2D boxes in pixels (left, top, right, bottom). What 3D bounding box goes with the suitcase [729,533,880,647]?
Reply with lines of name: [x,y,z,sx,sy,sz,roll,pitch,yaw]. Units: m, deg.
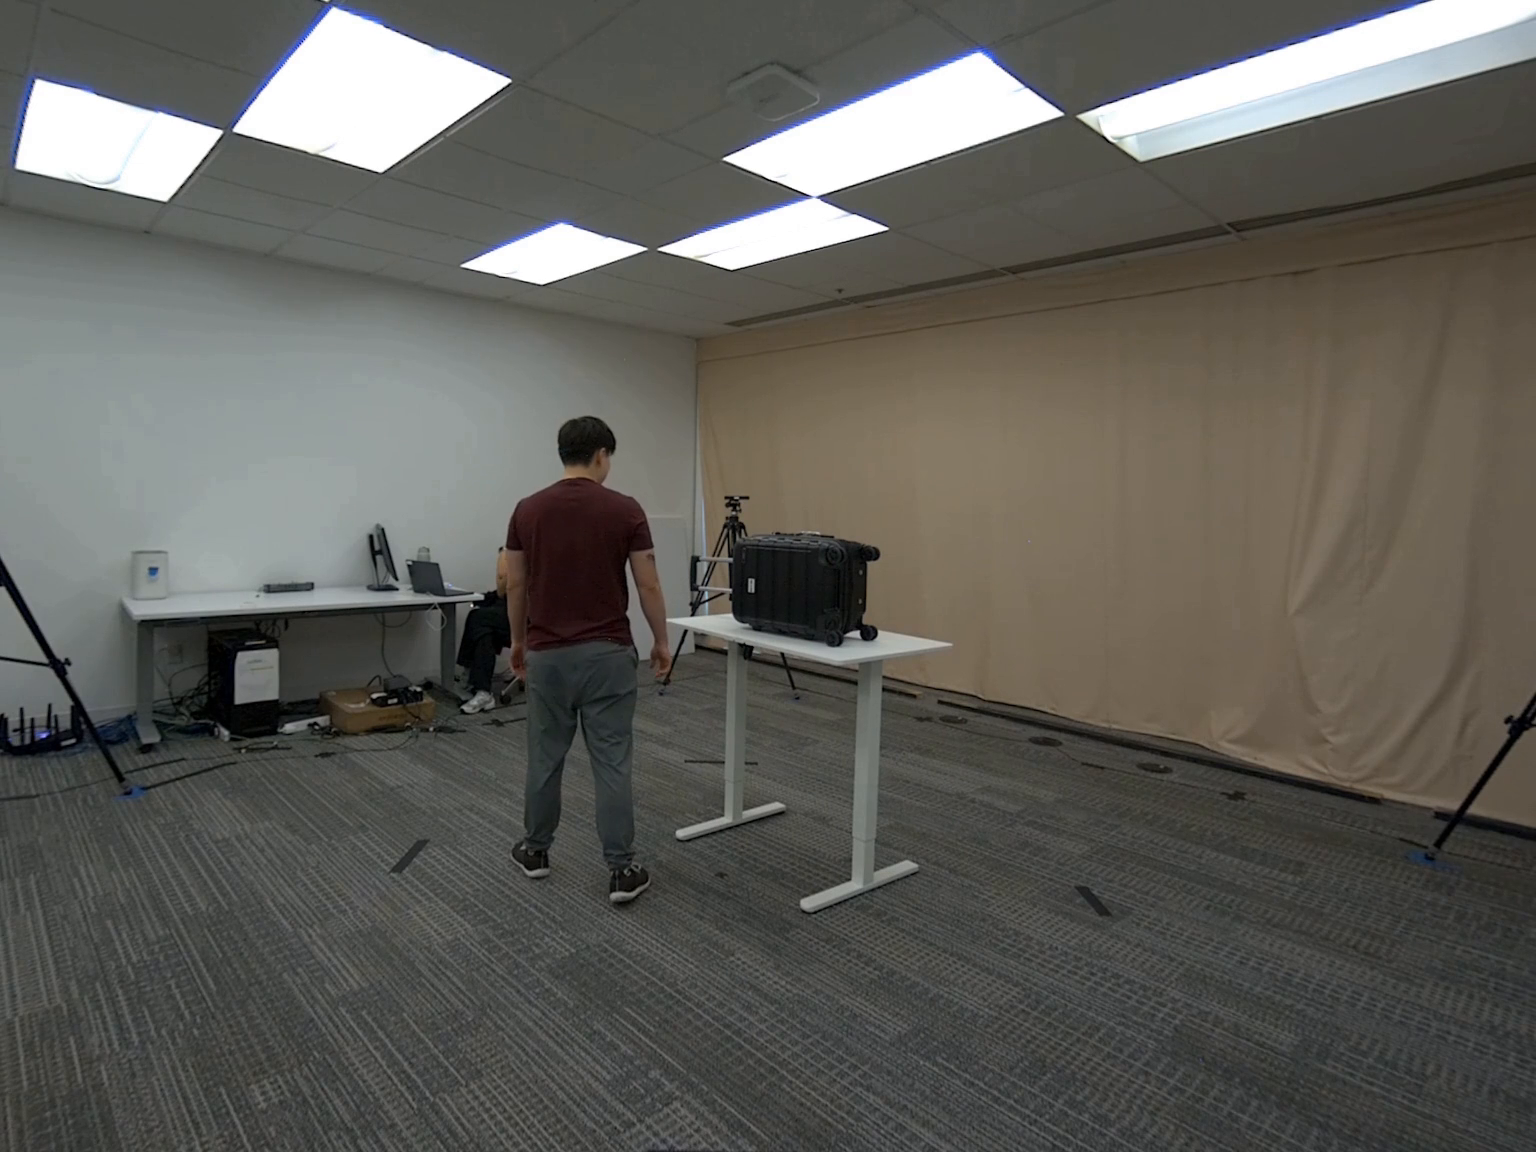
suitcase: [-0.042,0.021,3.320,1.004,0.383,0.251,6,6,42]
